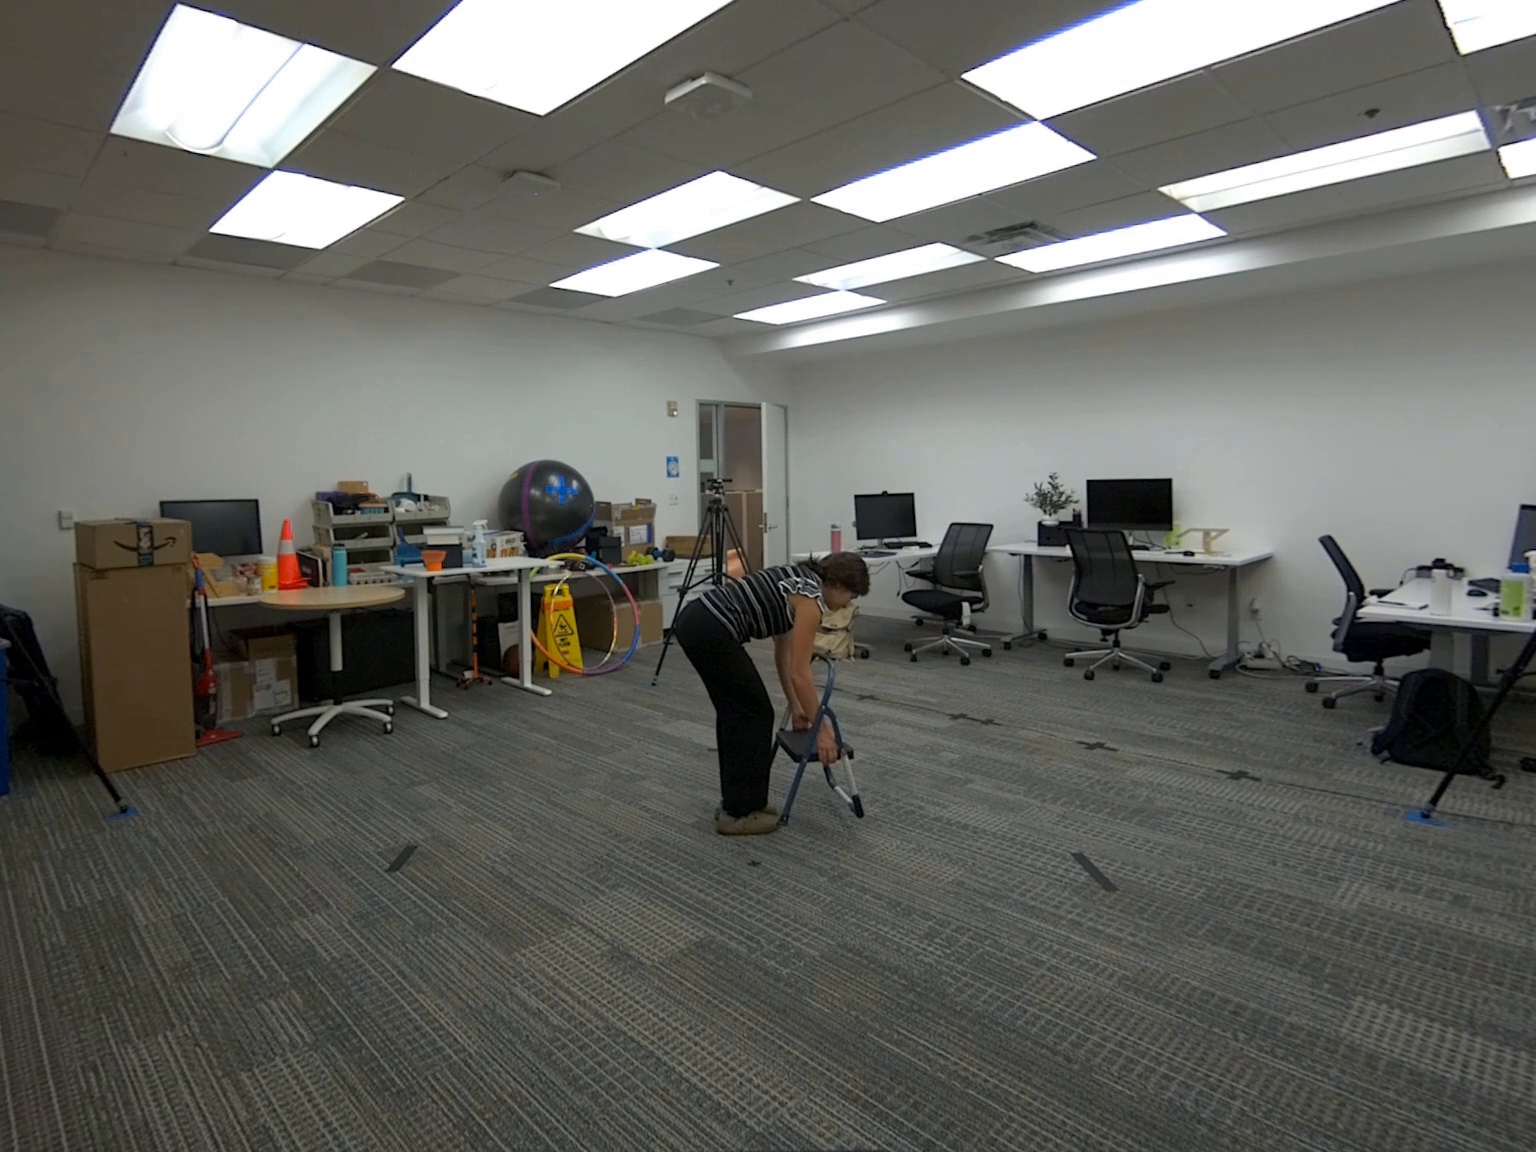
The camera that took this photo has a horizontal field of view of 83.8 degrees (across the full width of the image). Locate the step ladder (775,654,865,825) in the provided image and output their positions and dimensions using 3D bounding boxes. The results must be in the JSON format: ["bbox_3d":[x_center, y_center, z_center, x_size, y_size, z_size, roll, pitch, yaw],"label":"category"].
[{"bbox_3d":[0.157,0.629,3.474,0.345,0.604,0.437,-2,3,-13],"label":"step ladder"}]
